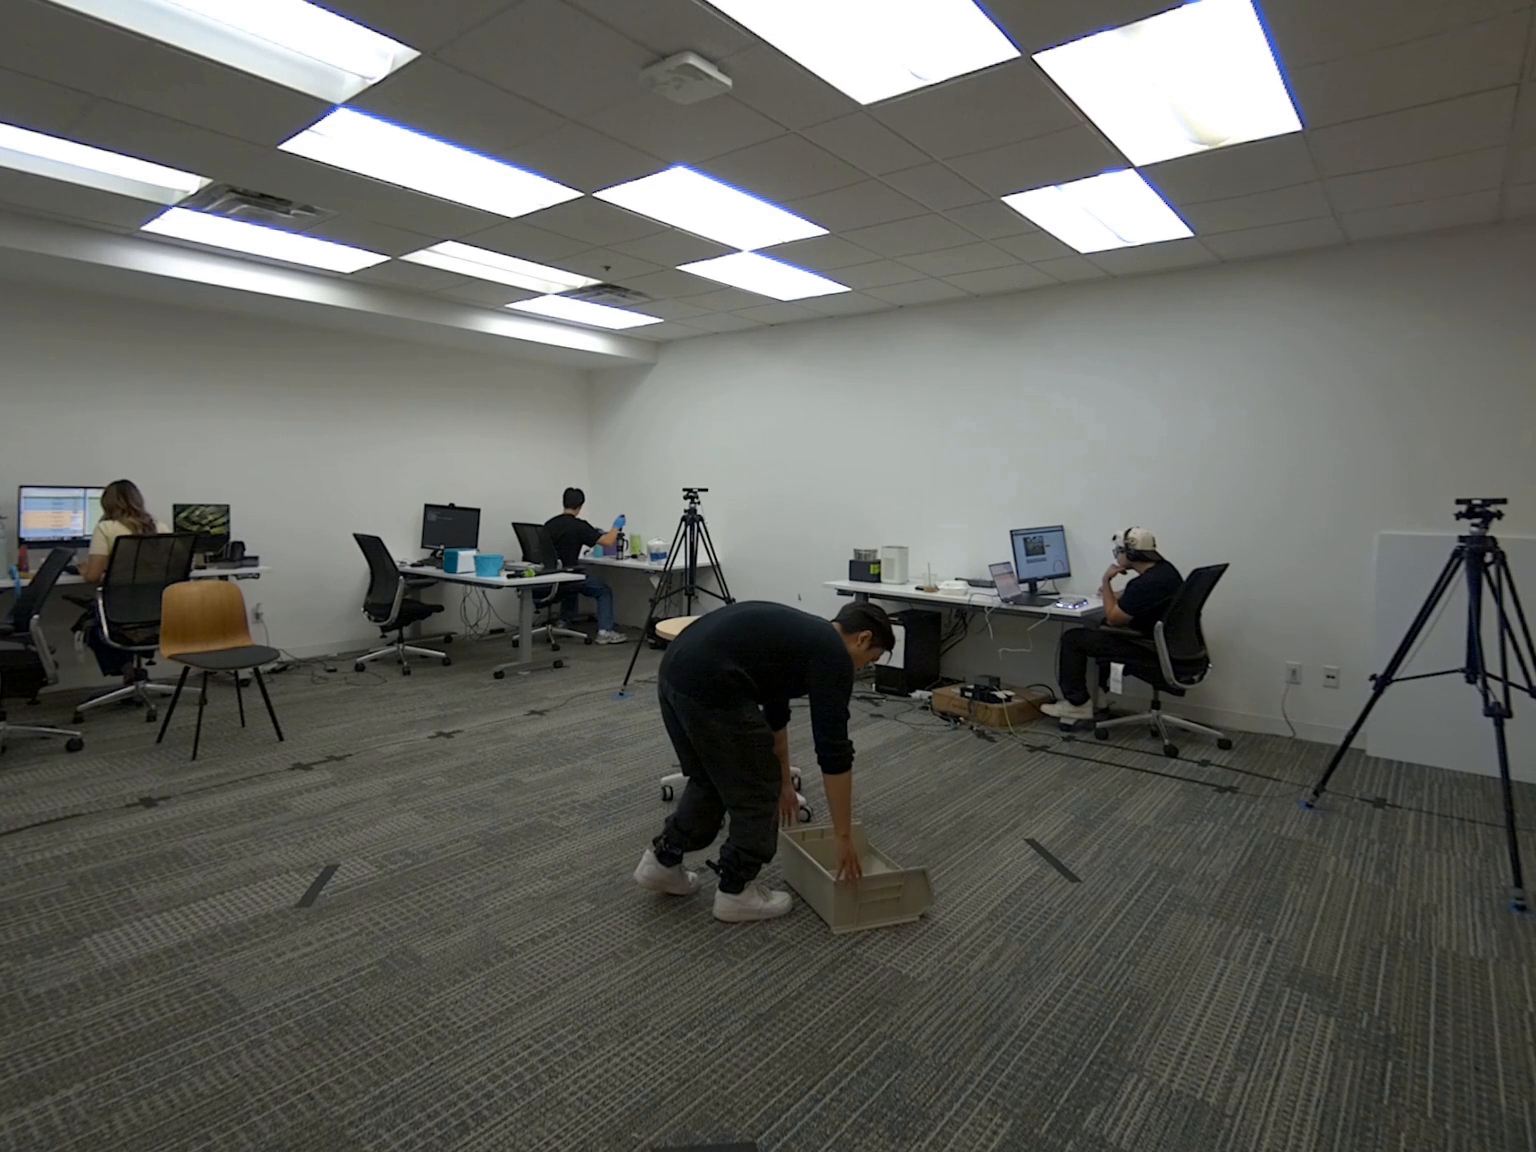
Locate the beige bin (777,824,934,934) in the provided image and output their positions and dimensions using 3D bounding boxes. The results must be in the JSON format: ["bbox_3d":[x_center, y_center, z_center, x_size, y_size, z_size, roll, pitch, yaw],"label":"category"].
[{"bbox_3d":[0.285,1.011,2.911,0.369,0.188,0.433,-2,7,-22],"label":"beige bin"}]
